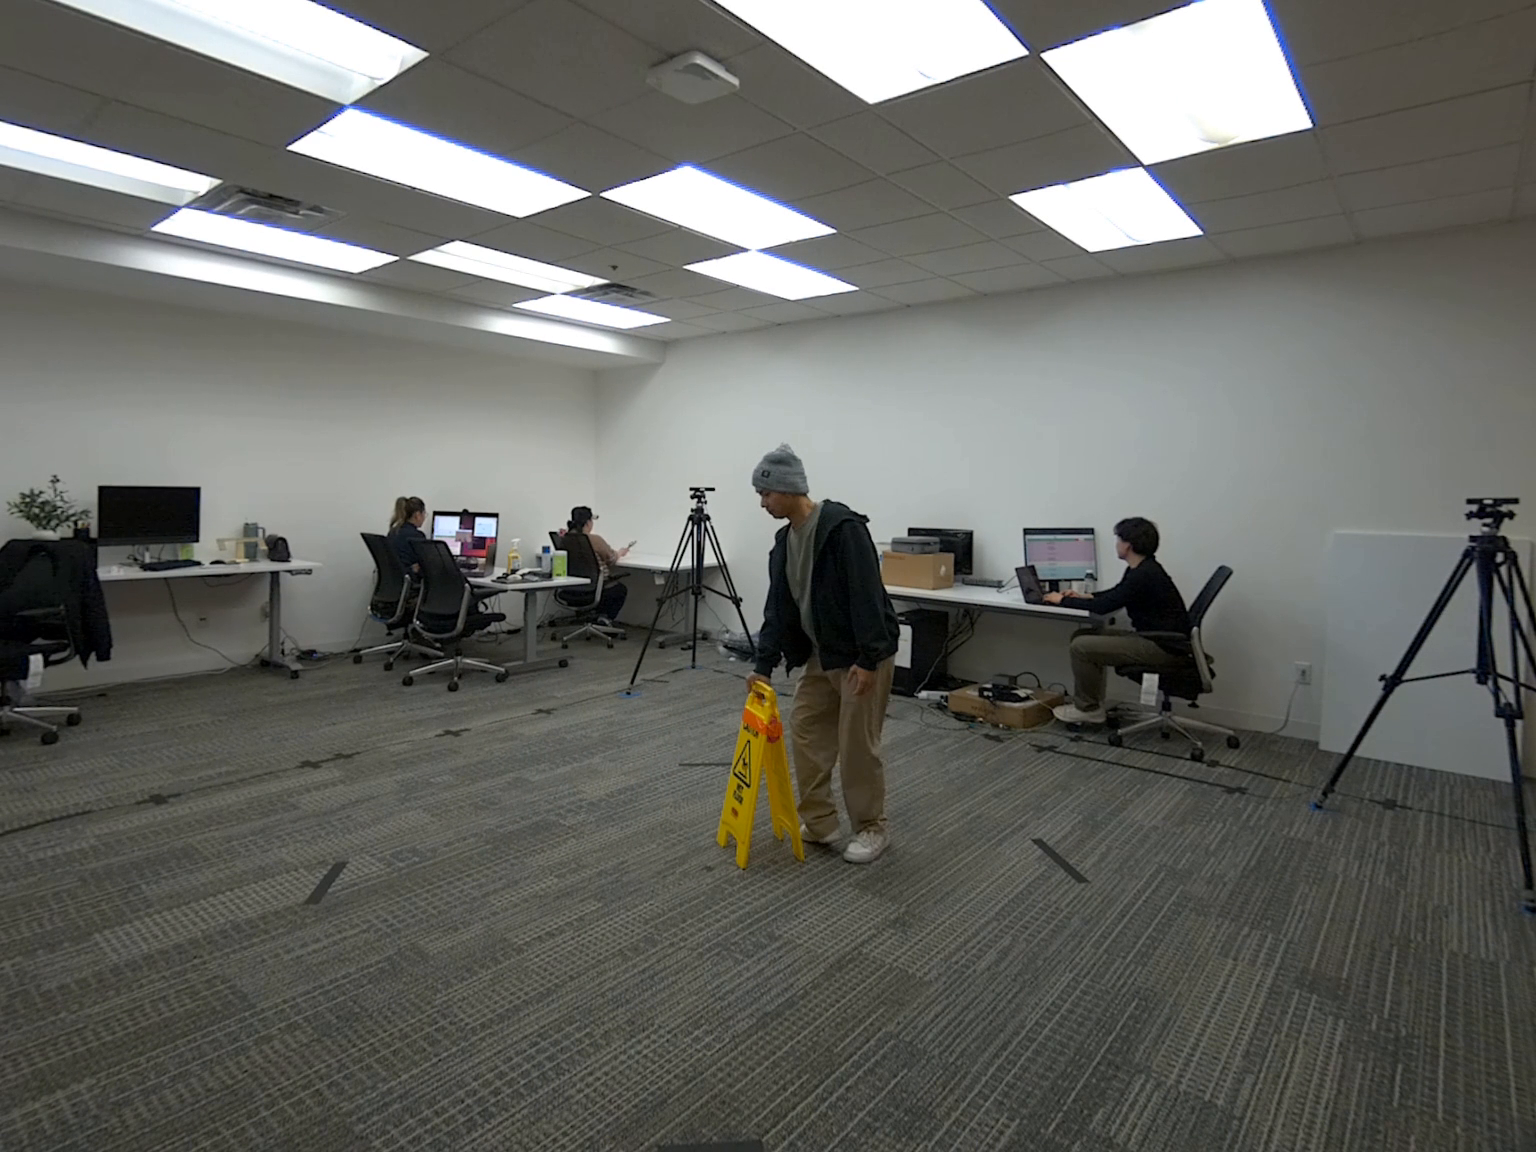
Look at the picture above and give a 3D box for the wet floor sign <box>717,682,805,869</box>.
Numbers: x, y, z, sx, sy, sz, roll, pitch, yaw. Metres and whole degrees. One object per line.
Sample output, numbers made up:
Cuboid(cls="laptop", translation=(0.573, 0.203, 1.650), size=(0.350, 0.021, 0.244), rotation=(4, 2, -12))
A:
Cuboid(cls="wet floor sign", translation=(-0.034, 0.726, 3.266), size=(0.284, 0.644, 0.289), rotation=(0, 4, -21))
